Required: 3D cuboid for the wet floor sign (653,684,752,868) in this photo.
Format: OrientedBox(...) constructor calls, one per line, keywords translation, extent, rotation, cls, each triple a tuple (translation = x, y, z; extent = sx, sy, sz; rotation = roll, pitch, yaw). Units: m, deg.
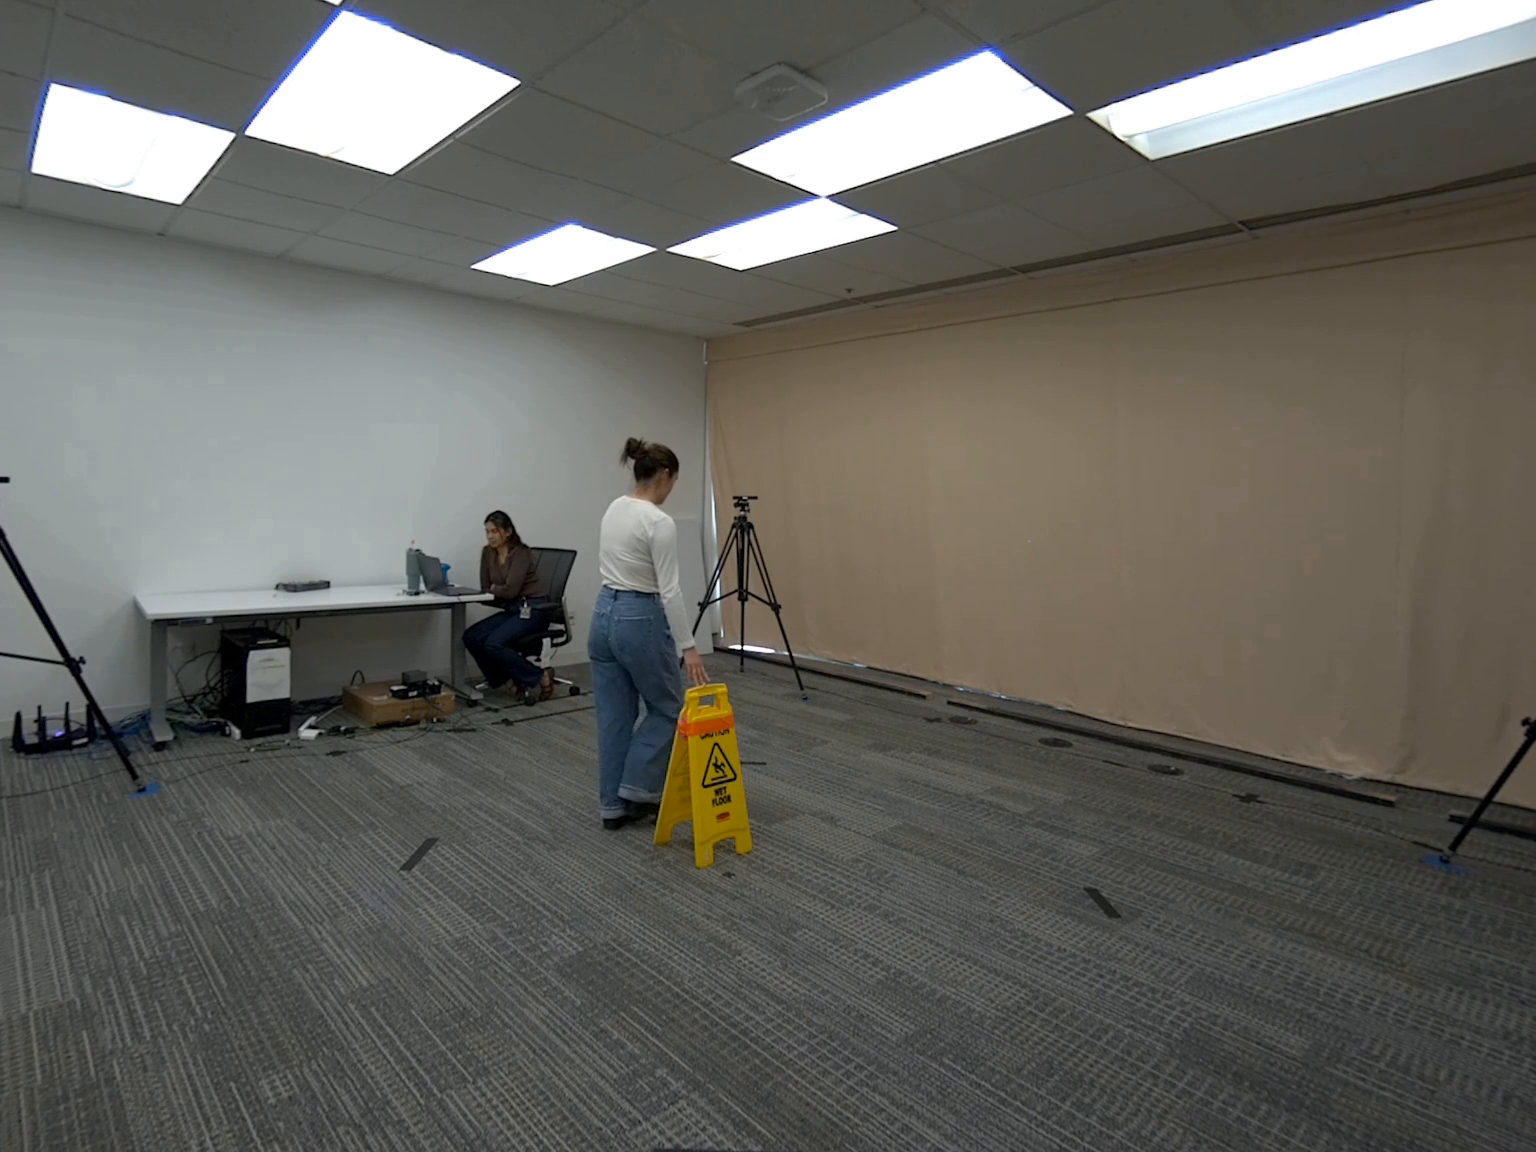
OrientedBox(translation=(-0.260, 0.755, 3.324), extent=(0.276, 0.645, 0.297), rotation=(-1, 4, -44), cls="wet floor sign")
